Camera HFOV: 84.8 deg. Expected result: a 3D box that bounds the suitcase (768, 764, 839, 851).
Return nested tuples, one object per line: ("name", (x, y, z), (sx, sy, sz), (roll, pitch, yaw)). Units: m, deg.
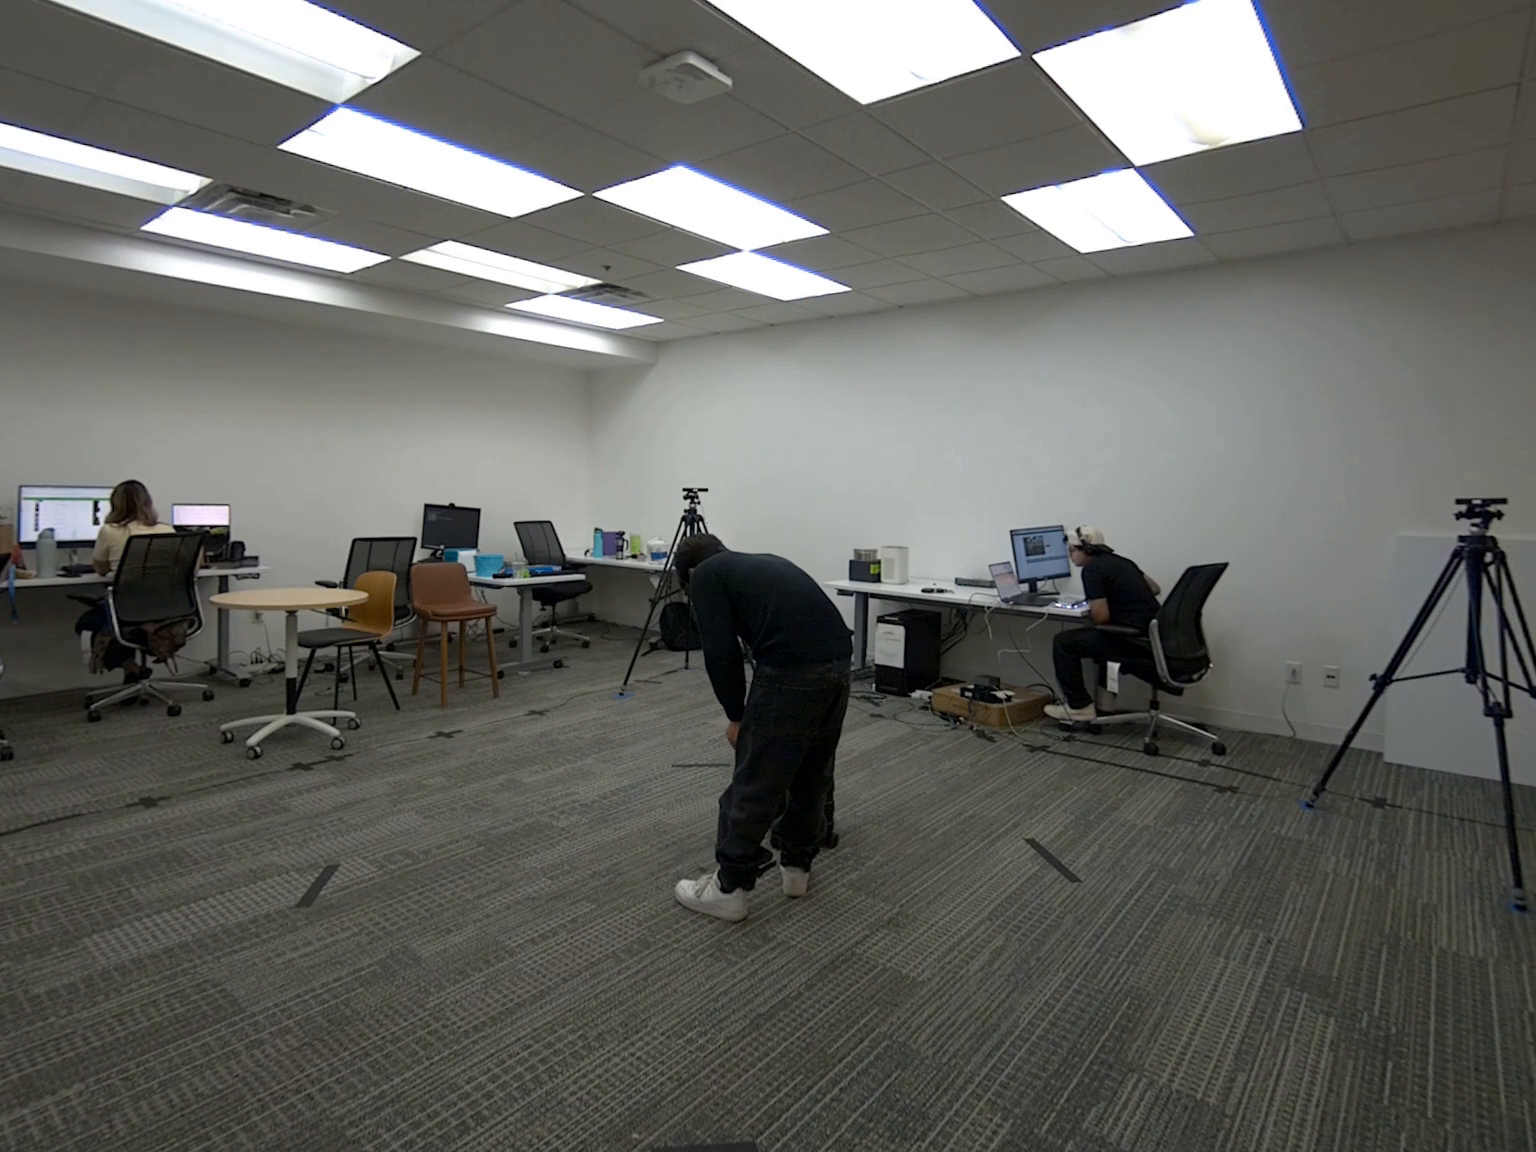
("suitcase", (0.122, 0.764, 3.449), (0.247, 0.548, 0.379), (0, 3, -6))
